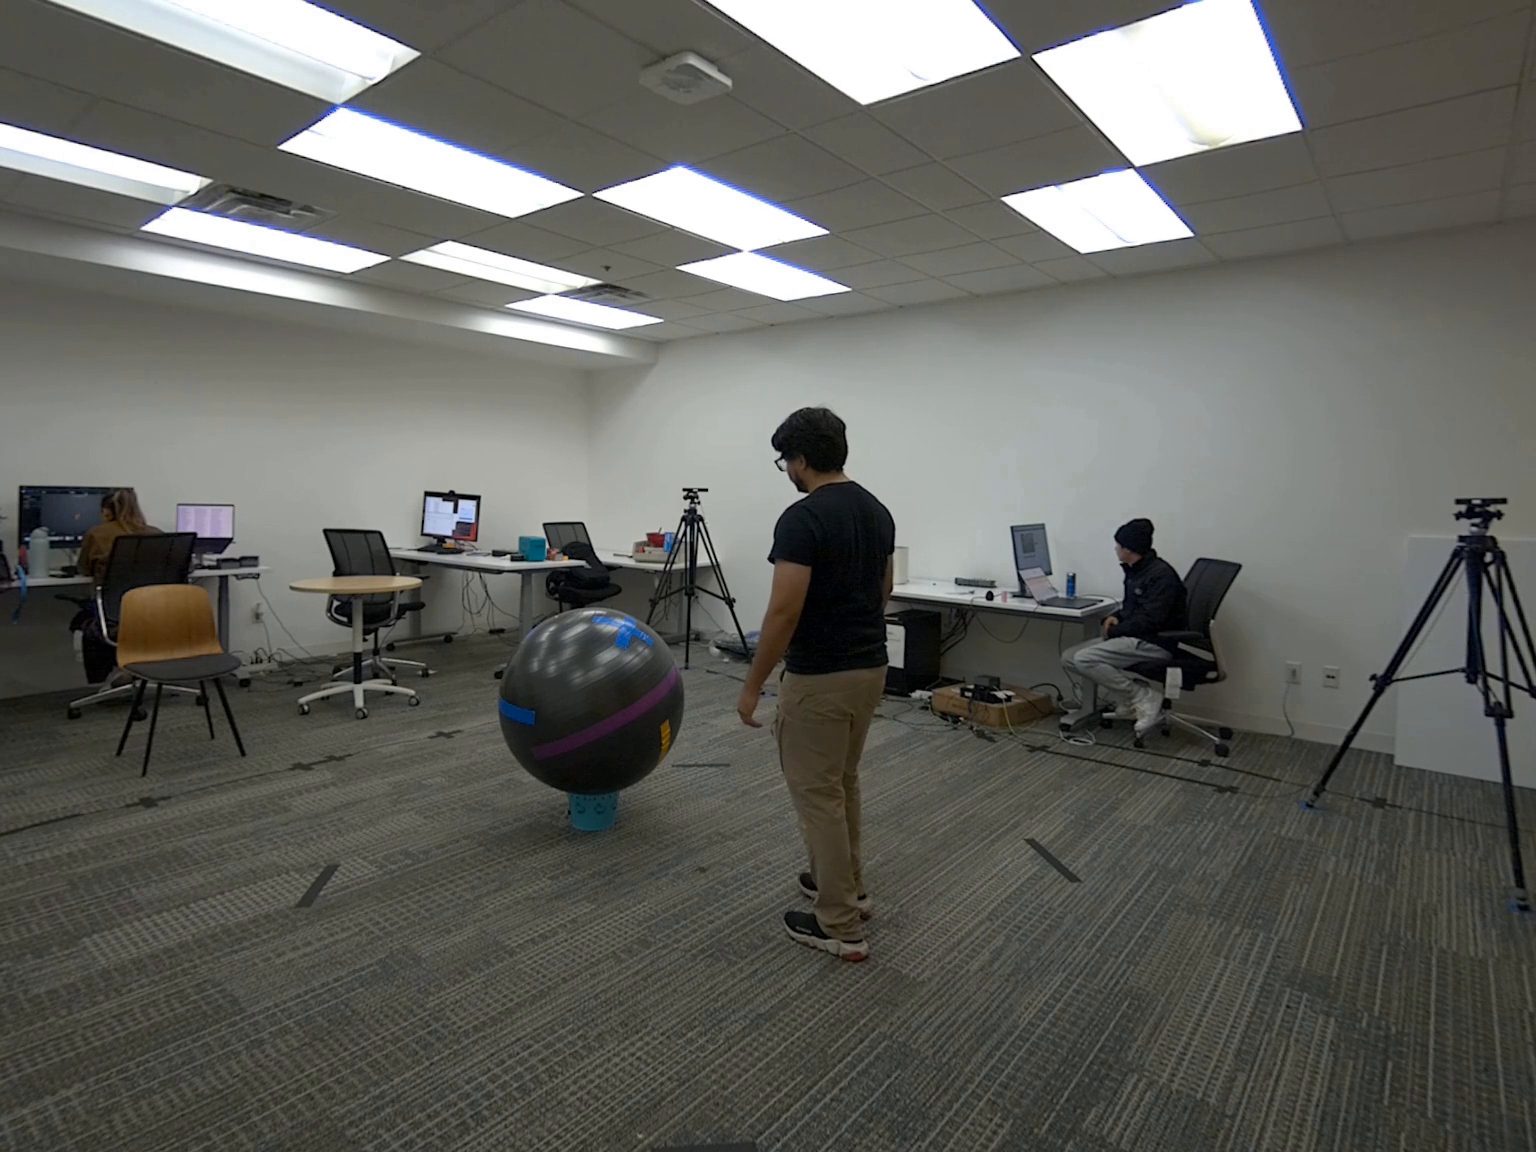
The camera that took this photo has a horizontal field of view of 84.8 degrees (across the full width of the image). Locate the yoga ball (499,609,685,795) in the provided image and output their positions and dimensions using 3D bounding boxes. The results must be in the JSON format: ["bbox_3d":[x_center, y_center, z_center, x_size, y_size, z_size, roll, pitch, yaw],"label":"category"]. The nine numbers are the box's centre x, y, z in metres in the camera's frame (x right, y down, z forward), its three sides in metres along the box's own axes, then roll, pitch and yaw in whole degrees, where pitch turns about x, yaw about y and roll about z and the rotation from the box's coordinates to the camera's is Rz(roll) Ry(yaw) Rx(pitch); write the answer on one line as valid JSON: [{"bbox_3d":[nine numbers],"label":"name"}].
[{"bbox_3d":[-0.743,0.514,3.510,0.757,0.756,0.761,1,4,-2],"label":"yoga ball"}]
